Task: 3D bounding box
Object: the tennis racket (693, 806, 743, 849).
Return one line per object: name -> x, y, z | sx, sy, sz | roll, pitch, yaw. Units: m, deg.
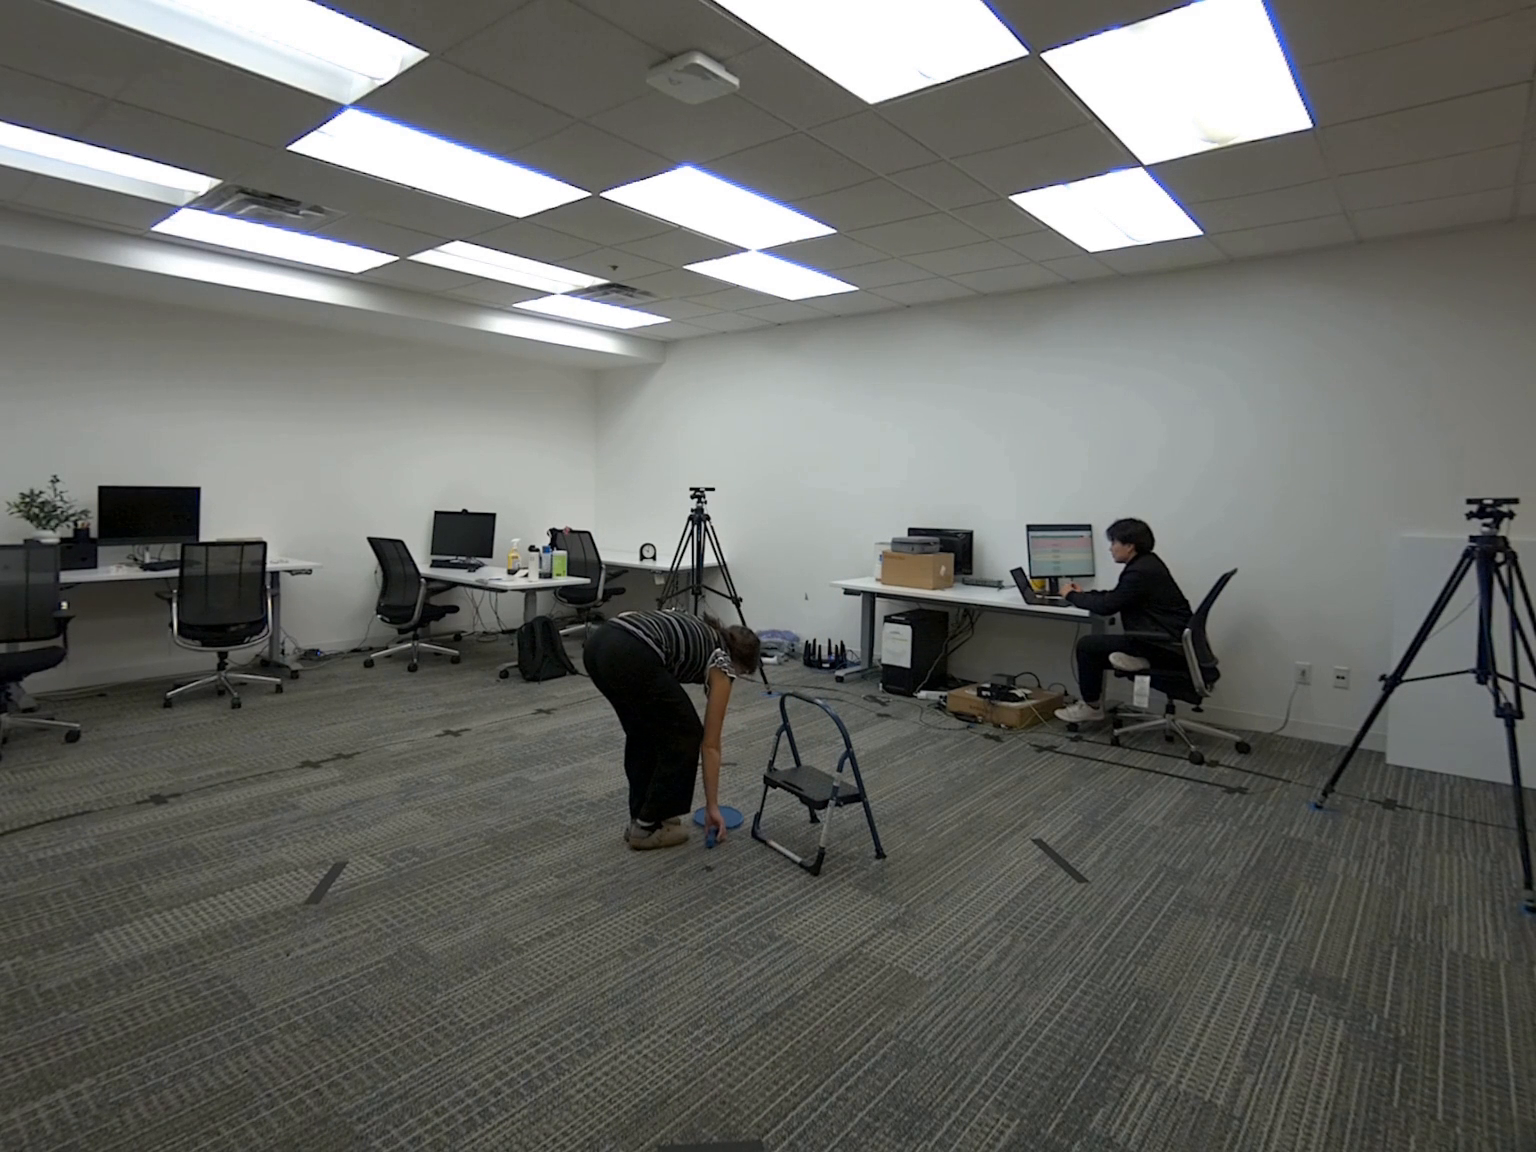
tennis racket -> -0.225, 1.004, 3.487 | 0.216, 0.032, 0.429 | 4, 3, 6
